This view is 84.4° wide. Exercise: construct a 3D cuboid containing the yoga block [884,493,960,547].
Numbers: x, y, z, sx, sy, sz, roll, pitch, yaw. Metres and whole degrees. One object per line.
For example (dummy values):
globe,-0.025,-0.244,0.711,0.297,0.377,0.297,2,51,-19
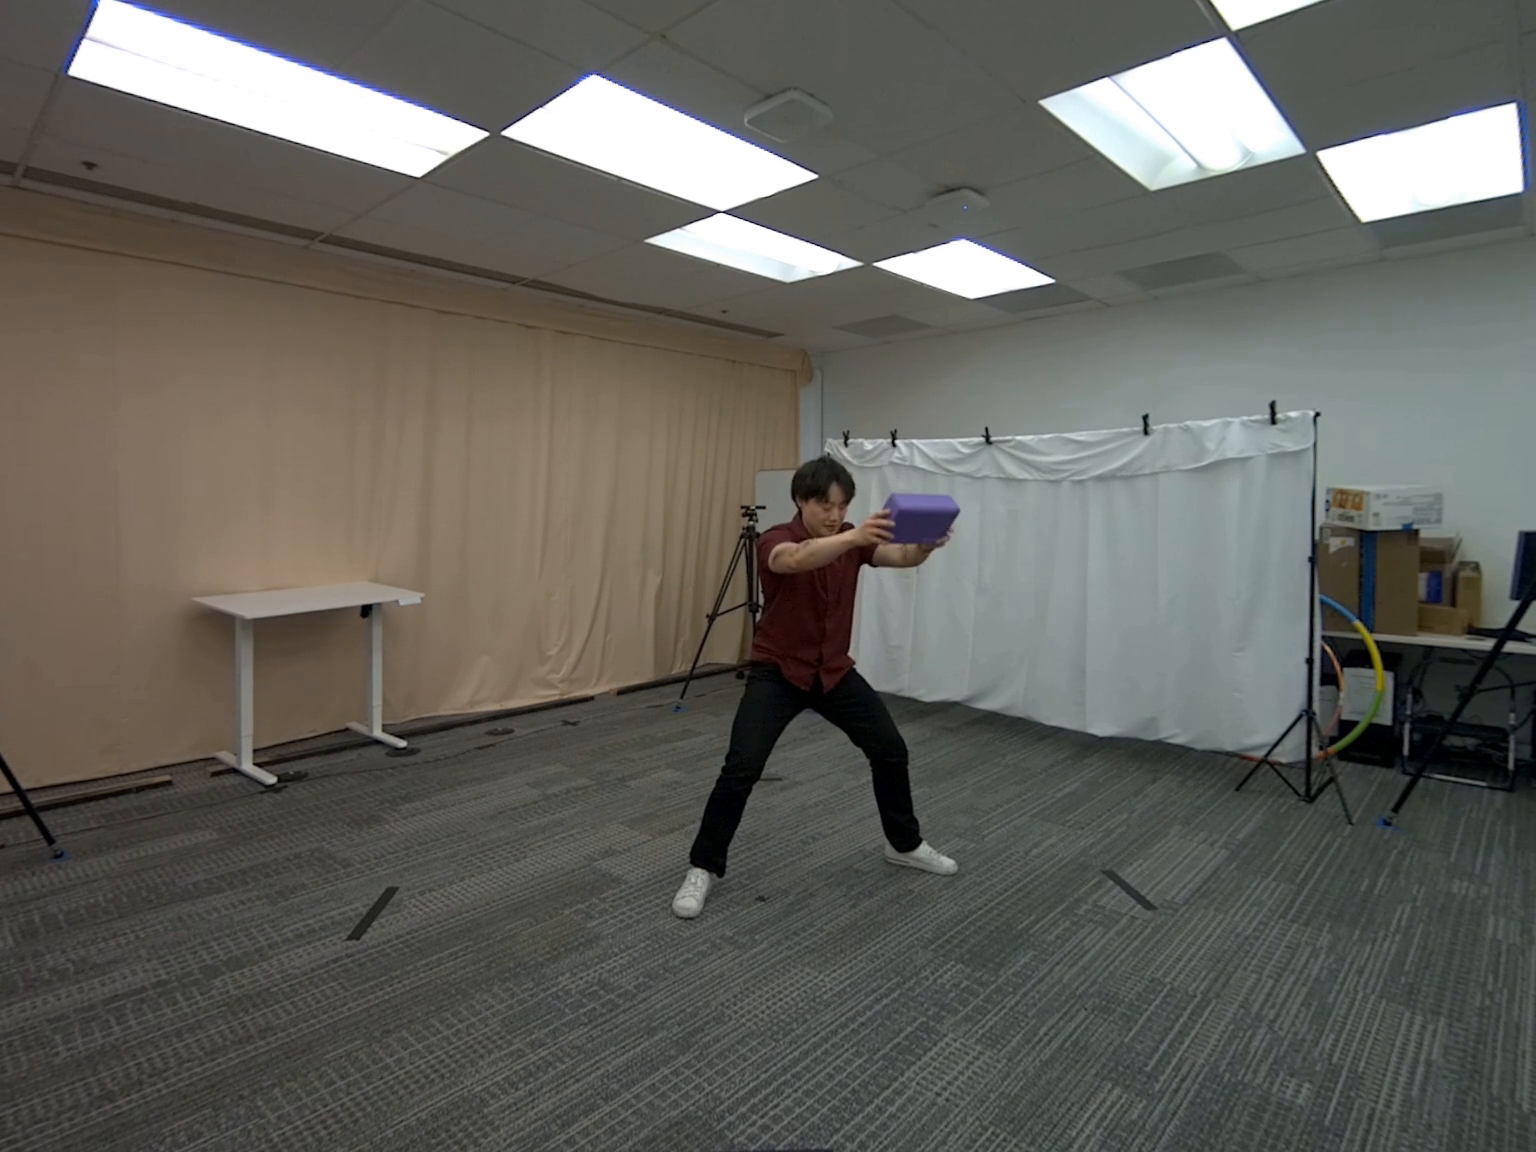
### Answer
yoga block,0.441,-0.163,2.514,0.223,0.148,0.079,0,43,-26
